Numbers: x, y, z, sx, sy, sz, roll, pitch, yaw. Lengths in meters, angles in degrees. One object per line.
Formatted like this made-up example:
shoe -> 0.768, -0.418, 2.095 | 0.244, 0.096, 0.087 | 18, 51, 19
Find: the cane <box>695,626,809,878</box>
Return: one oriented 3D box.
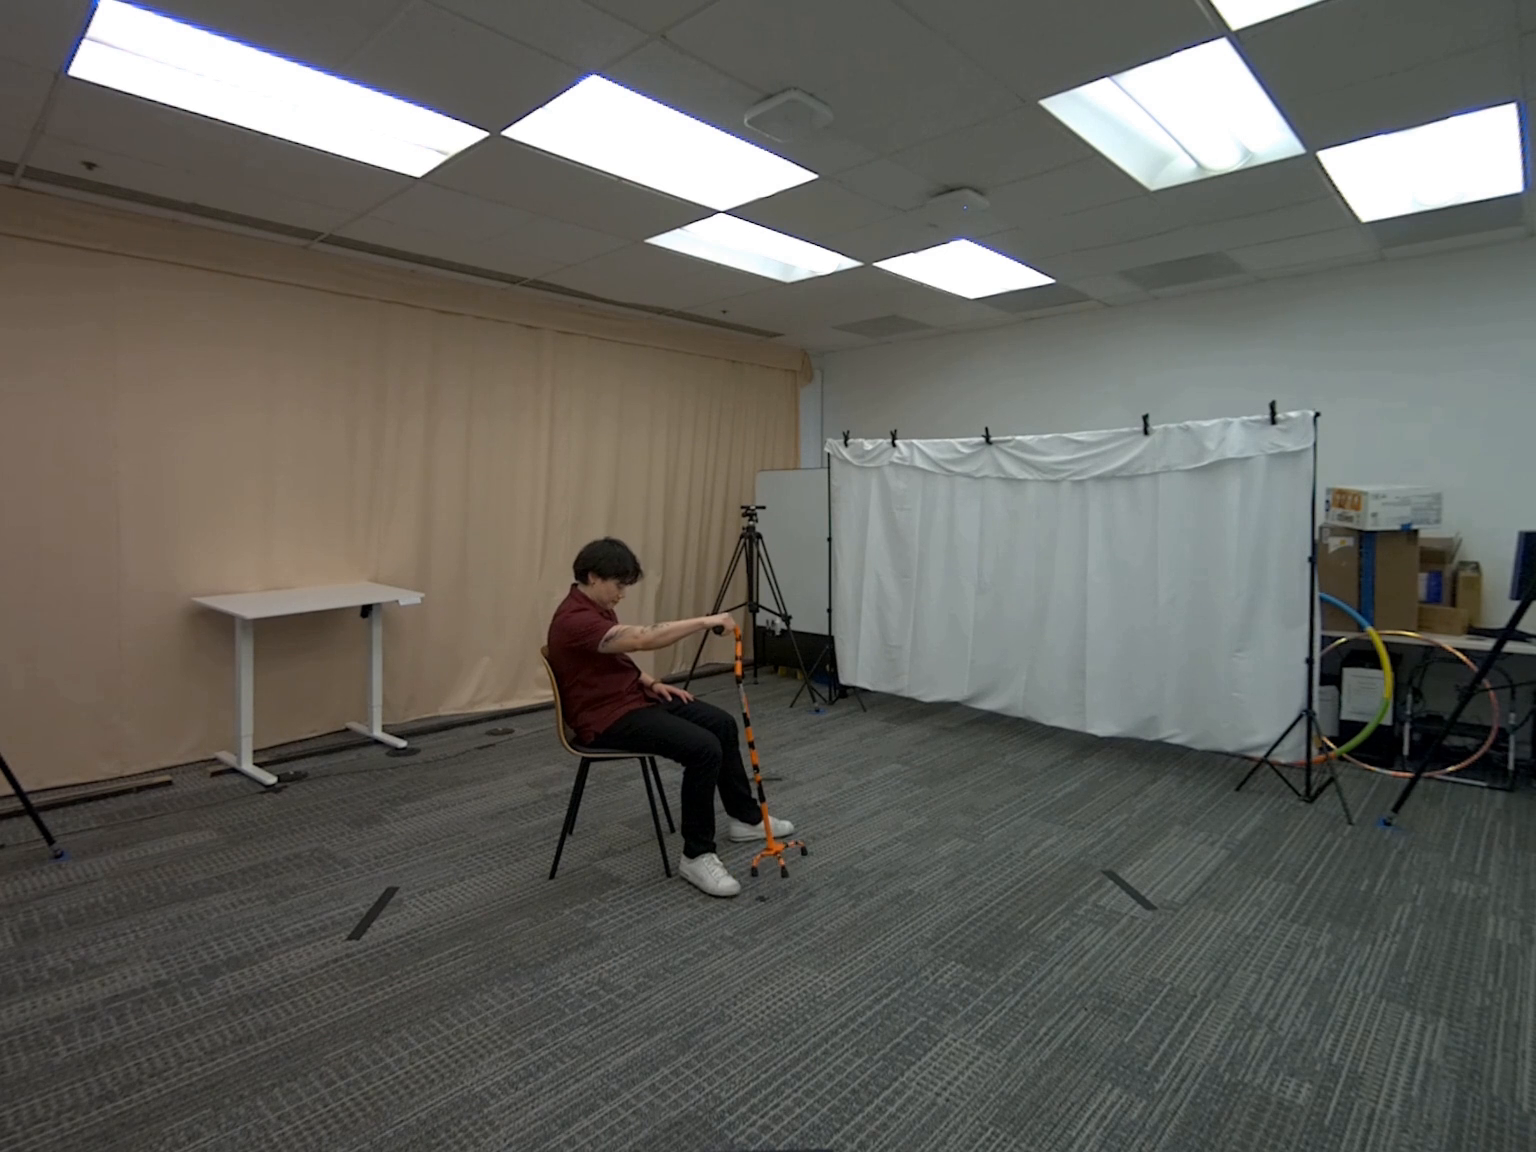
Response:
cane -> -0.038, 0.615, 3.036 | 0.155, 0.906, 0.201 | -8, 3, 31
